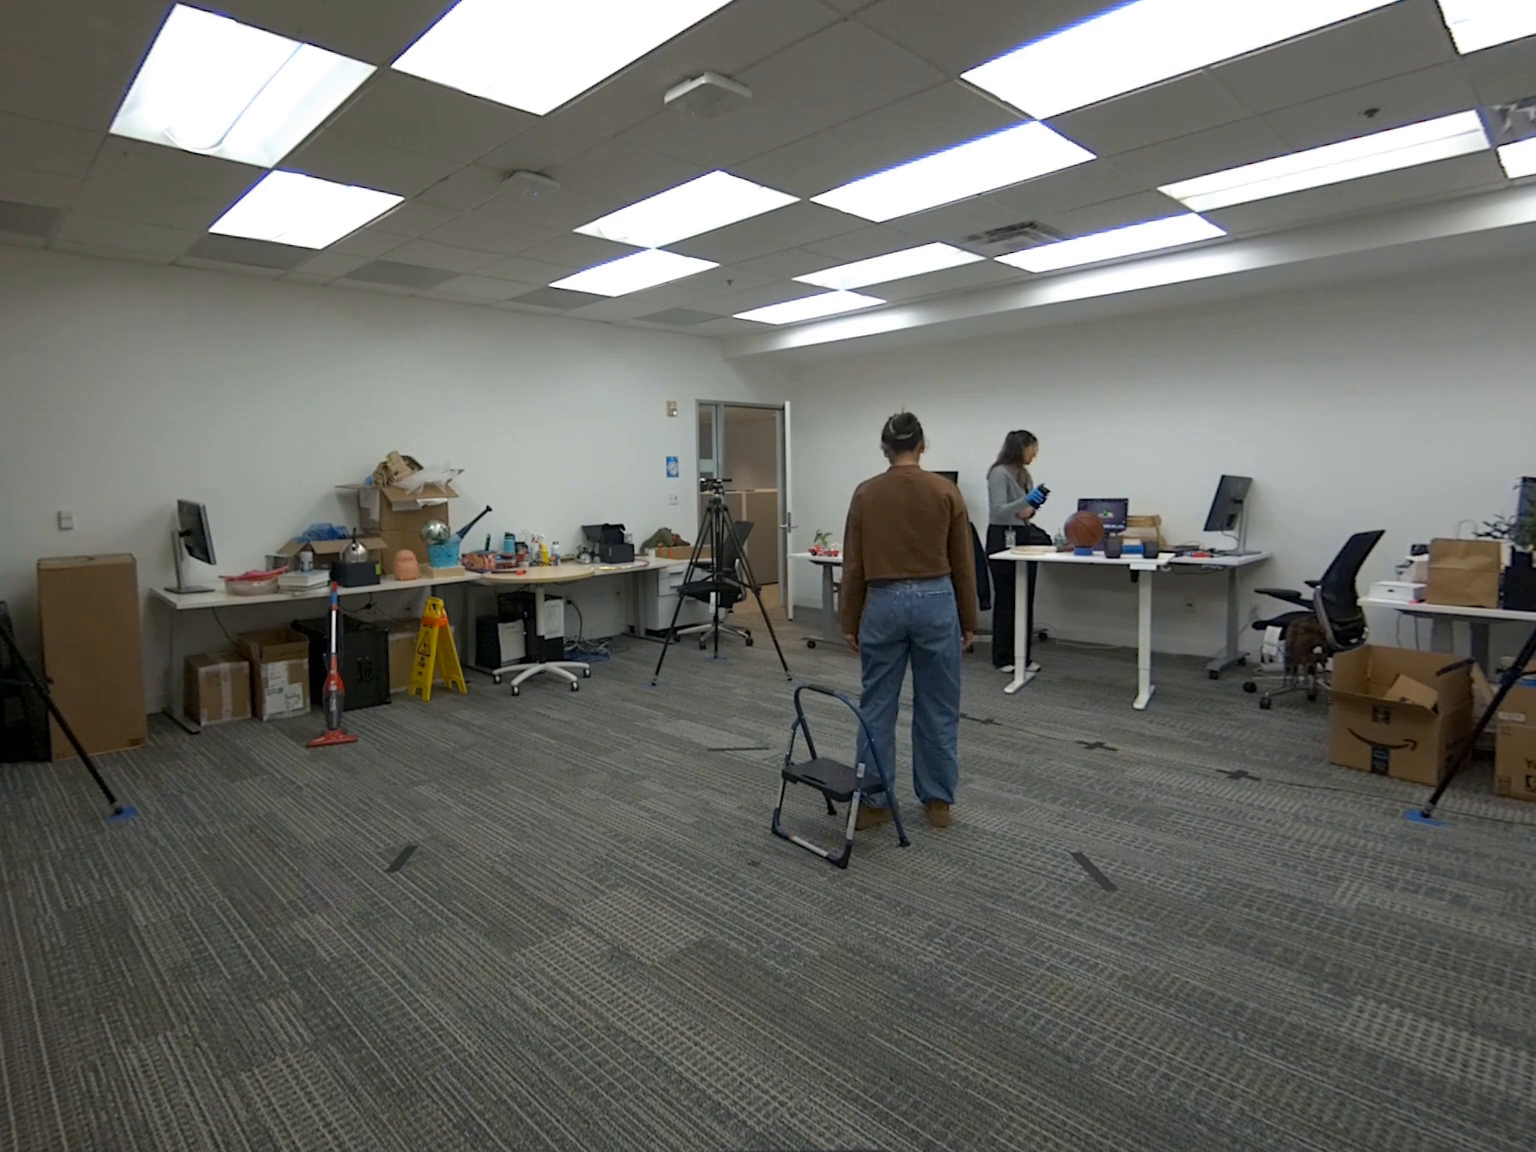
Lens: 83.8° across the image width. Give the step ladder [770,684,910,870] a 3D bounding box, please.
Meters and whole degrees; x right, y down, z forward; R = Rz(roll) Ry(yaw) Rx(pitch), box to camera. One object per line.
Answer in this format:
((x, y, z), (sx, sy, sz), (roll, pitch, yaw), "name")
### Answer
((0.269, 0.715, 3.288), (0.340, 0.604, 0.444), (-4, 6, -38), "step ladder")
